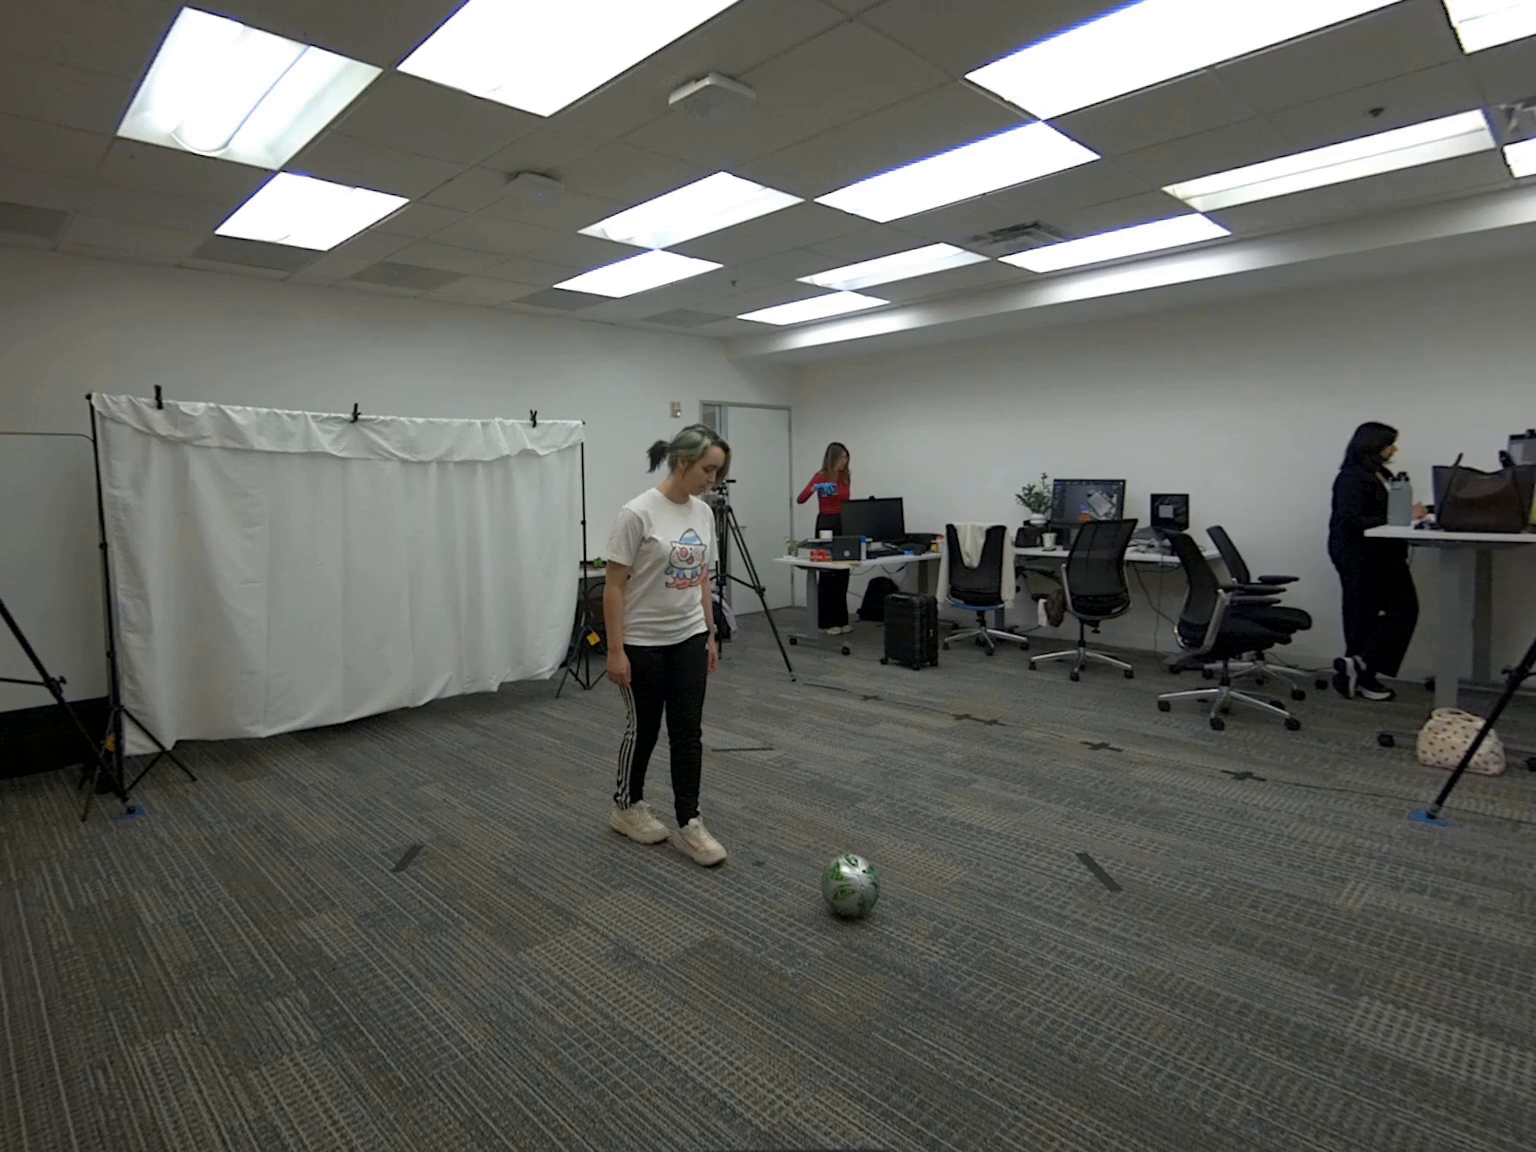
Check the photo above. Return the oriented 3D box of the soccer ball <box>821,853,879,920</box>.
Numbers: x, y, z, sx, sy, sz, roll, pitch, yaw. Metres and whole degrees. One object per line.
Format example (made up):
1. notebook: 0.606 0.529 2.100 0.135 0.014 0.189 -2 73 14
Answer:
1. soccer ball: 0.264 0.987 2.737 0.187 0.187 0.188 -1 5 -2
